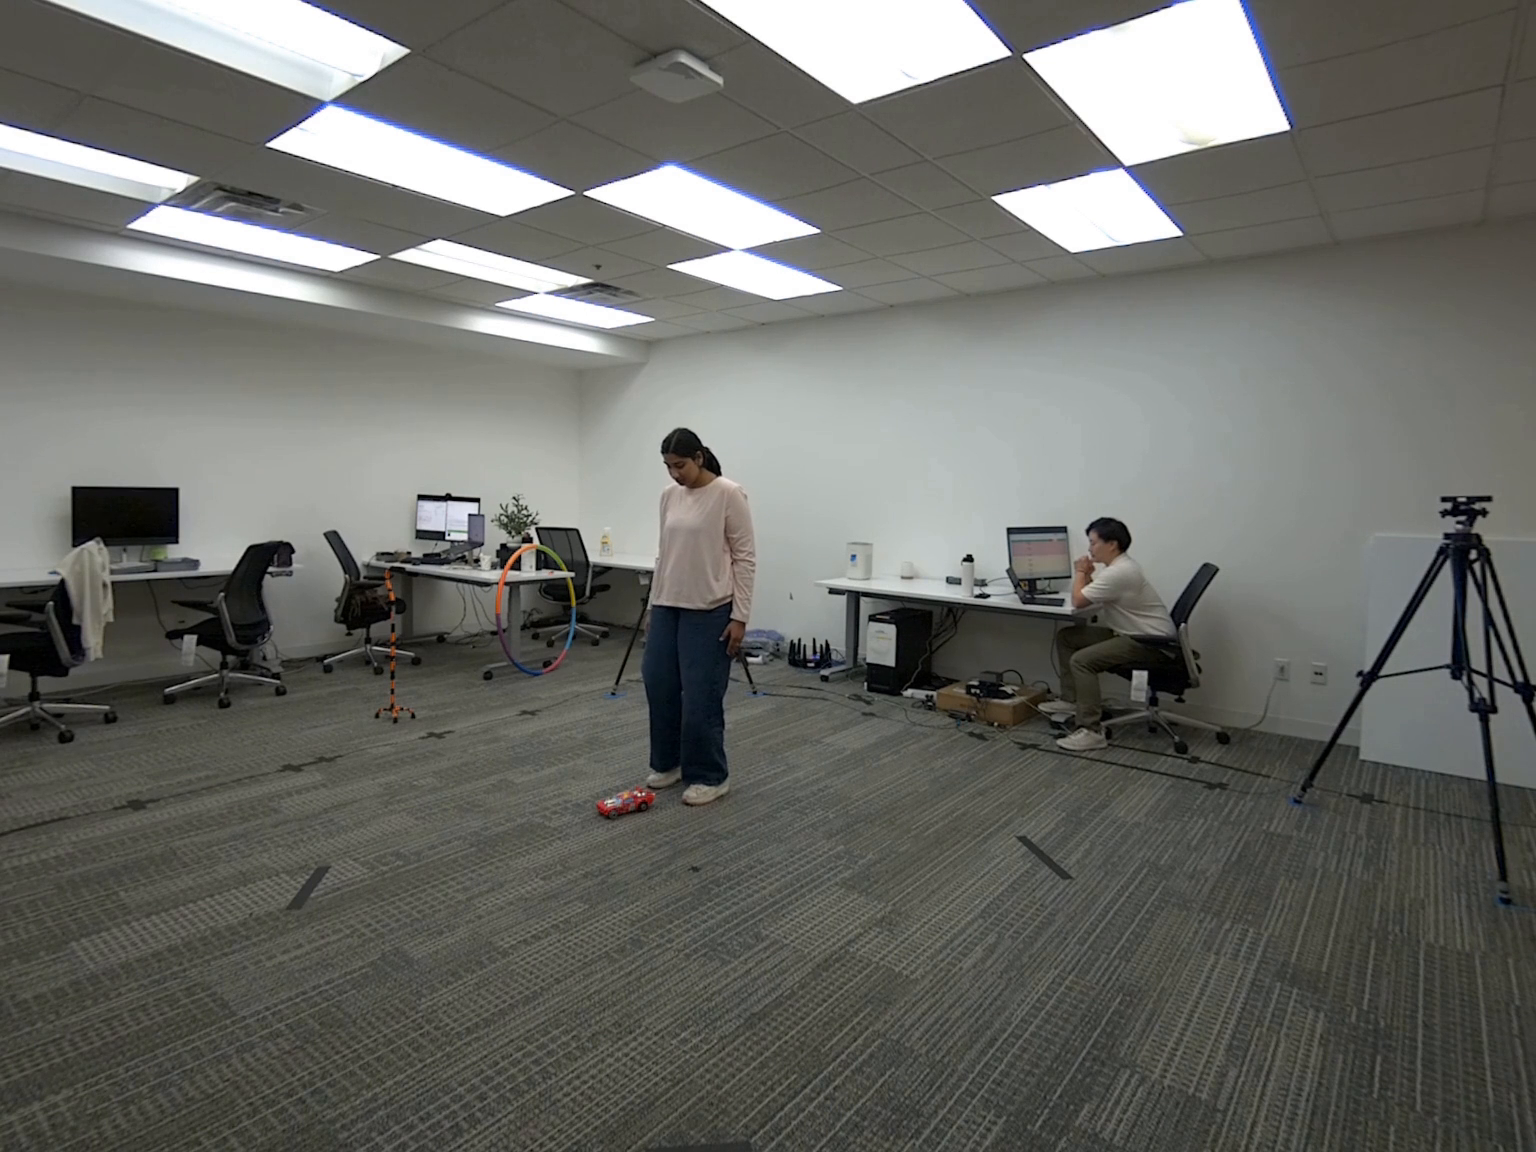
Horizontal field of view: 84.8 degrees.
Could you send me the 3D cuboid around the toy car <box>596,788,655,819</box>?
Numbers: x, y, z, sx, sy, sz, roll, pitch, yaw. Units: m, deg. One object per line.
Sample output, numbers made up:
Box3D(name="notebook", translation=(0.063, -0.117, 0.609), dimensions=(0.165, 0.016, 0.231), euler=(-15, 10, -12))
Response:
Box3D(name="toy car", translation=(-0.620, 0.977, 3.657), dimensions=(0.249, 0.082, 0.134), euler=(-16, 14, -33))
